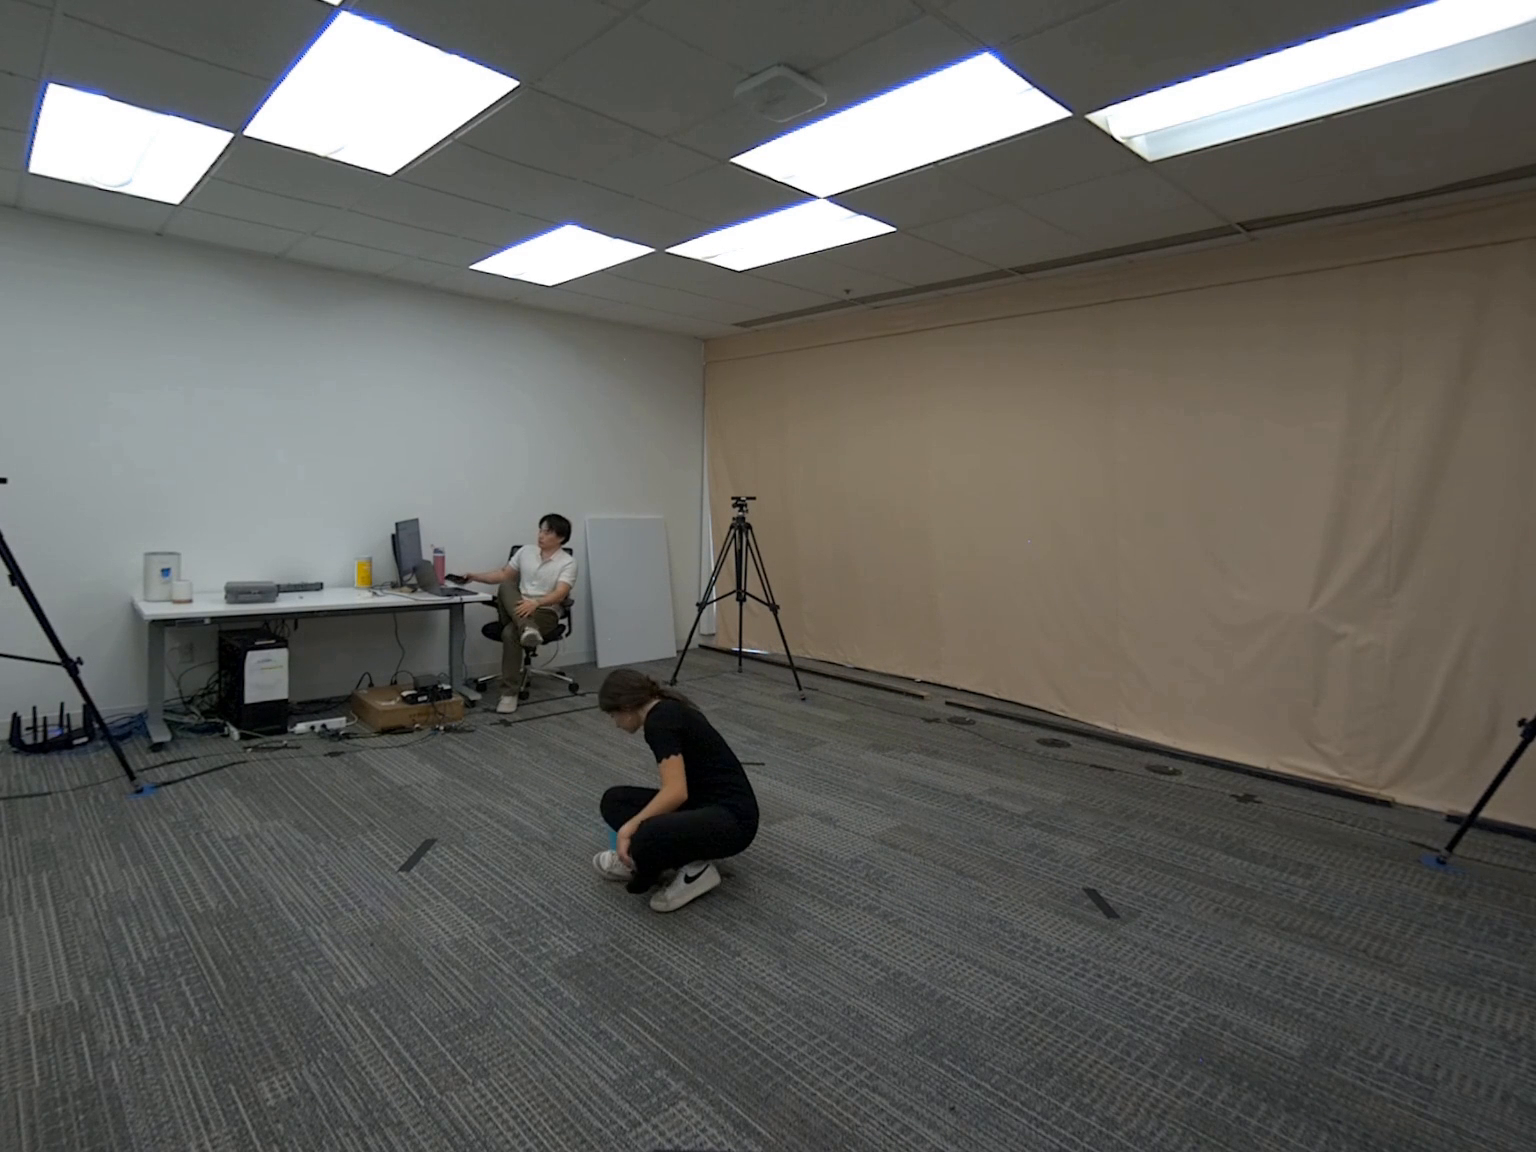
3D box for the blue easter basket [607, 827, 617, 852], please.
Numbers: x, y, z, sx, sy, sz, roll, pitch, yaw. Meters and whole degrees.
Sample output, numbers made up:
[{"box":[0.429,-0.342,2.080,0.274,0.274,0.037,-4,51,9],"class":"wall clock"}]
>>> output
[{"box":[-0.529,0.994,3.344,0.243,0.155,0.244,1,4,-1],"class":"blue easter basket"}]
